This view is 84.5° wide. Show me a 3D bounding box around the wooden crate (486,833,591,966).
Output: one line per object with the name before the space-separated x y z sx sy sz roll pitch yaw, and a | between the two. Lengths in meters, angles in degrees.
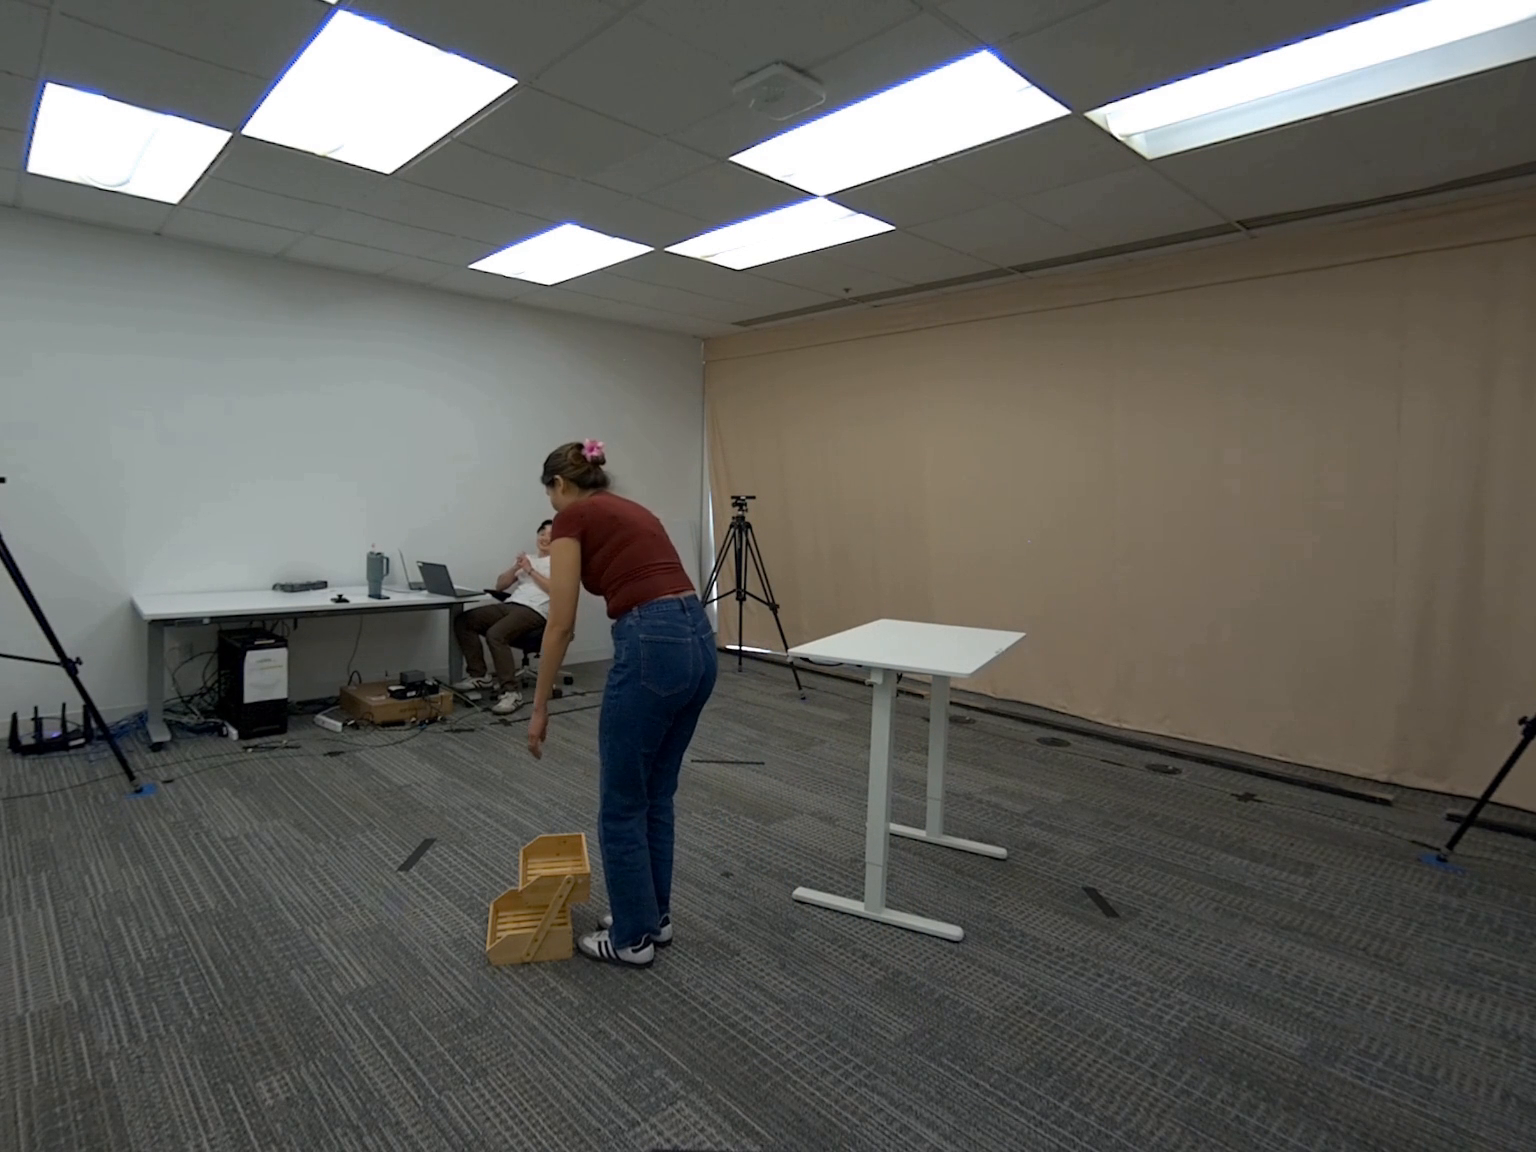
wooden crate | -0.723 0.992 2.640 0.298 0.272 0.329 1 4 -15
